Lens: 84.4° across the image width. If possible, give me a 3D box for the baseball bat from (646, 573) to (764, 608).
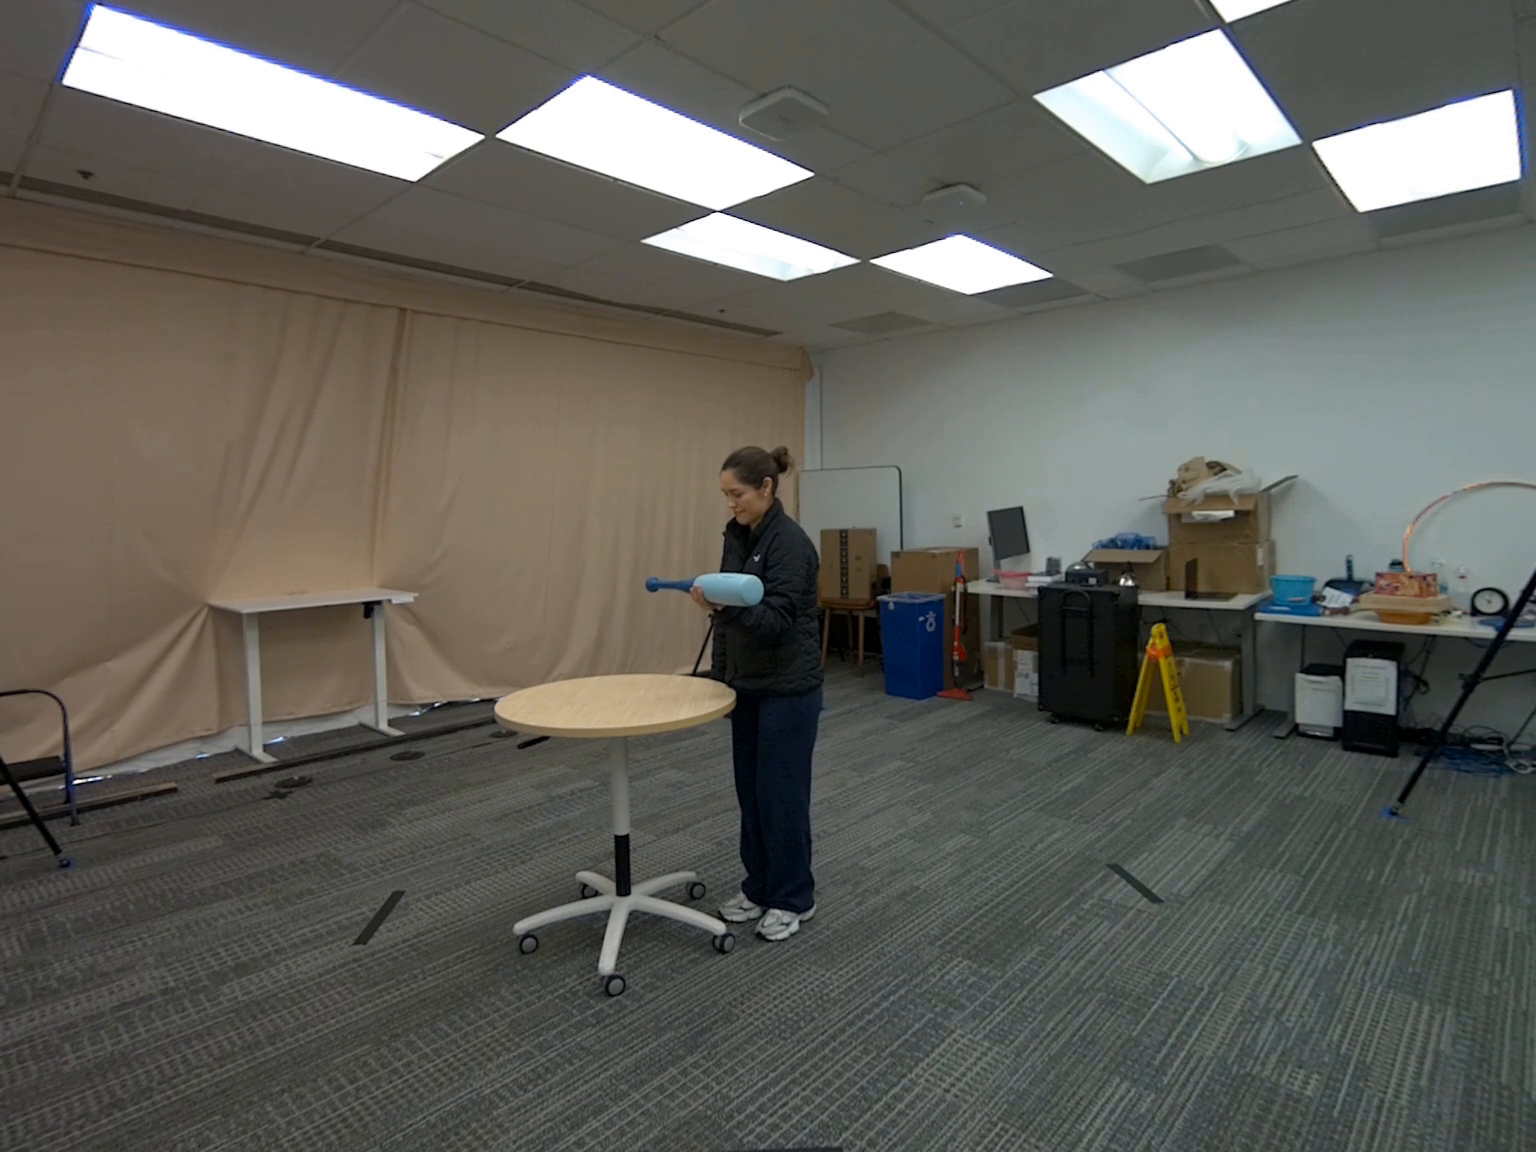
[{"bbox_3d":[-0.184,0.037,2.508,0.086,0.089,0.559,-3,3,-34],"label":"baseball bat"}]
